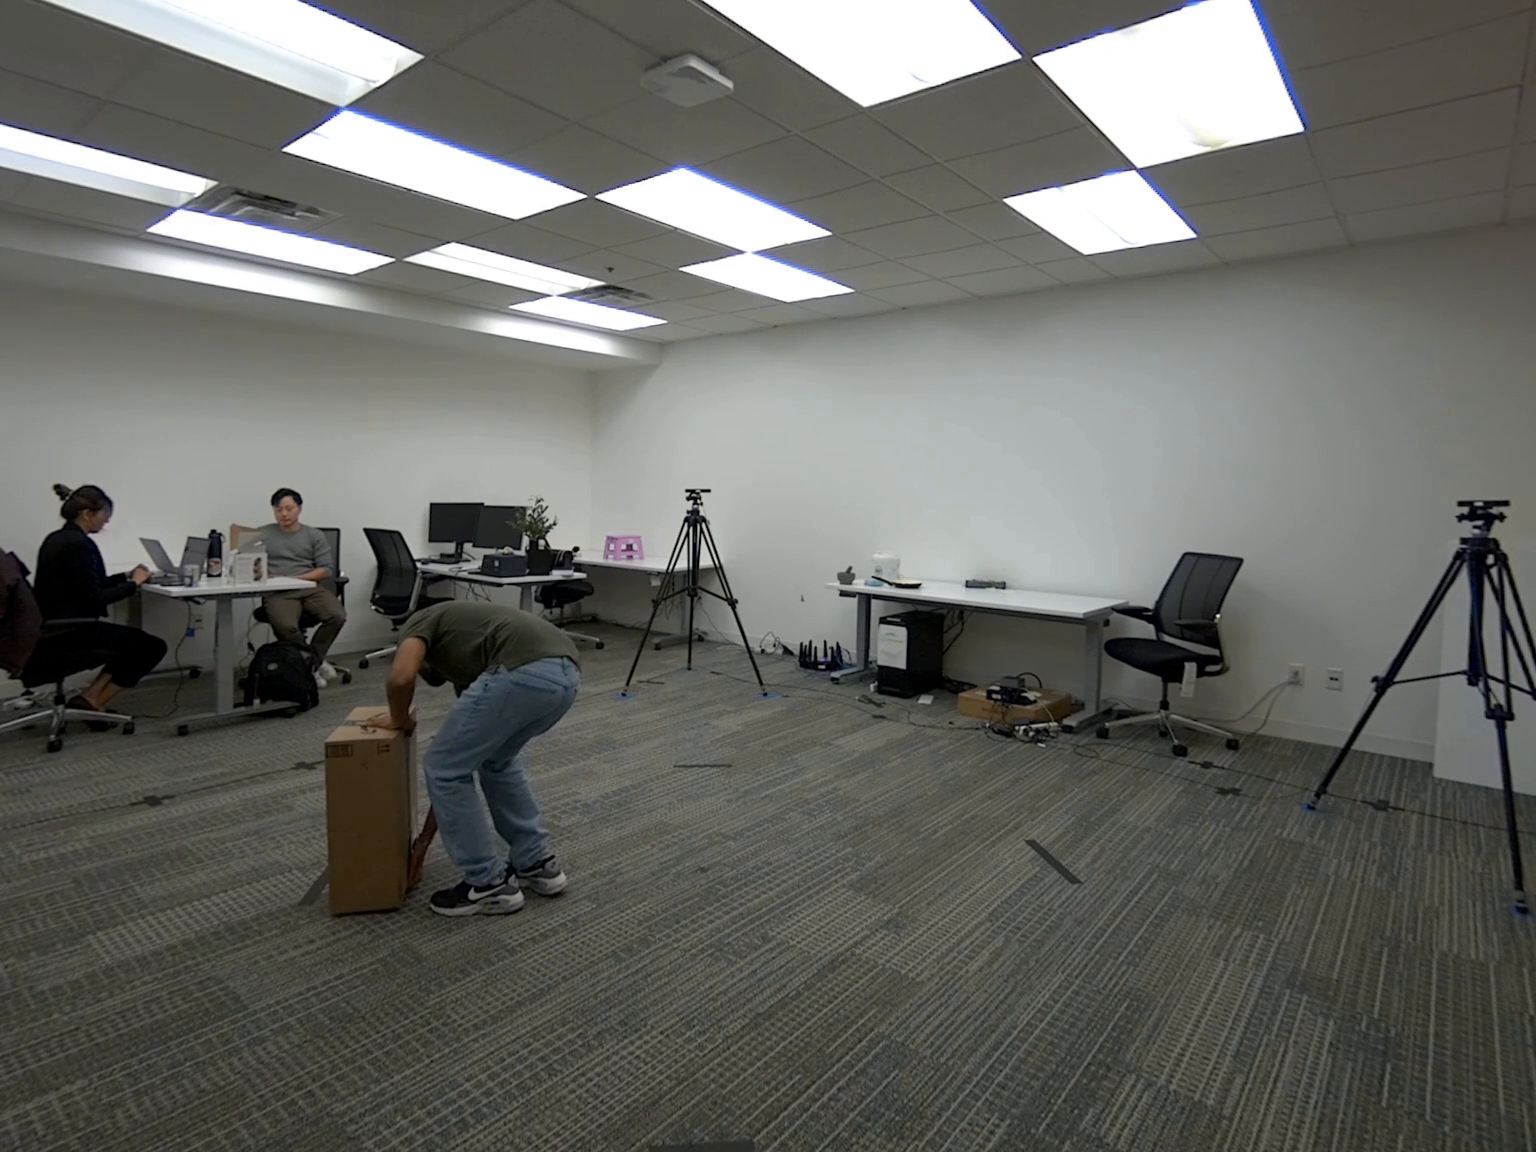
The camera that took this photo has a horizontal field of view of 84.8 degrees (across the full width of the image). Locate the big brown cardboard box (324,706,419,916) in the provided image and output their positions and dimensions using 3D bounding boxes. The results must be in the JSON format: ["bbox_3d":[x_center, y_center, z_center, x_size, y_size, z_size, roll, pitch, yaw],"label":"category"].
[{"bbox_3d":[-1.359,0.781,2.917,0.230,0.586,0.425,-1,5,-13],"label":"big brown cardboard box"}]
